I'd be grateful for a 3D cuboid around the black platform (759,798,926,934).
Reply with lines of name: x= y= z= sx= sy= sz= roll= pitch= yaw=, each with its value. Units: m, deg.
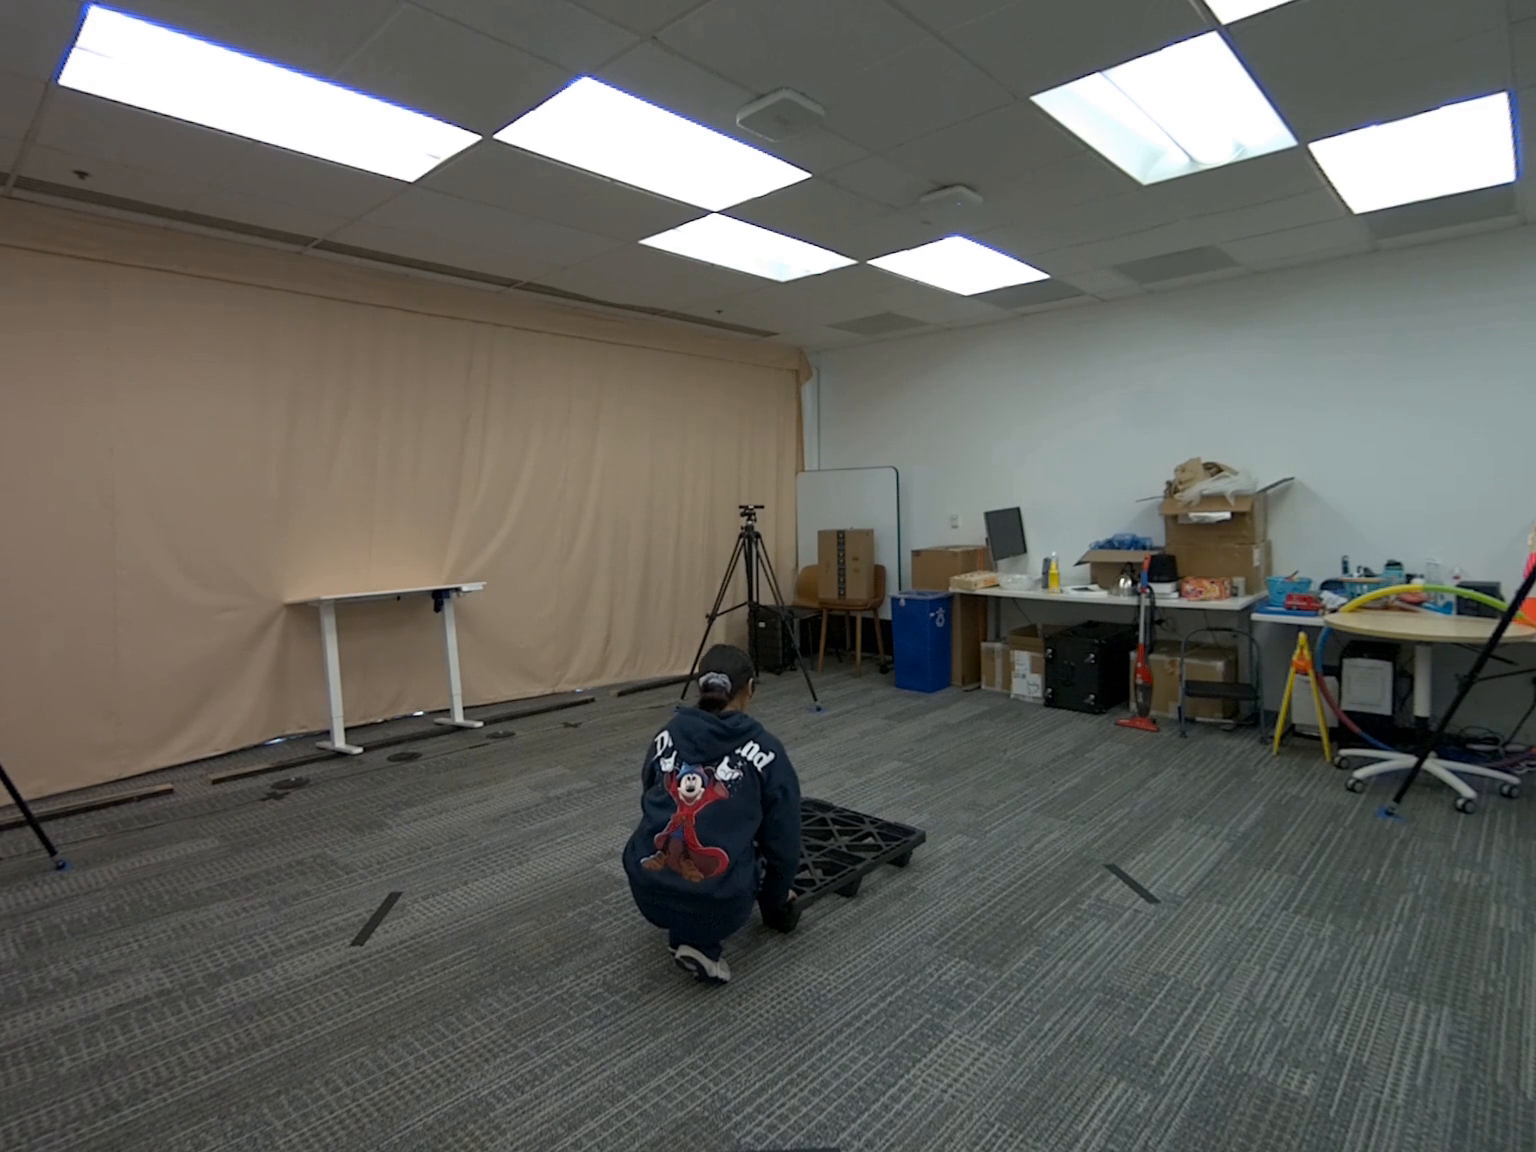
black platform: x=0.121 y=1.059 z=3.146 sx=0.625 sy=0.143 sz=0.781 roll=2 pitch=6 yaw=44
